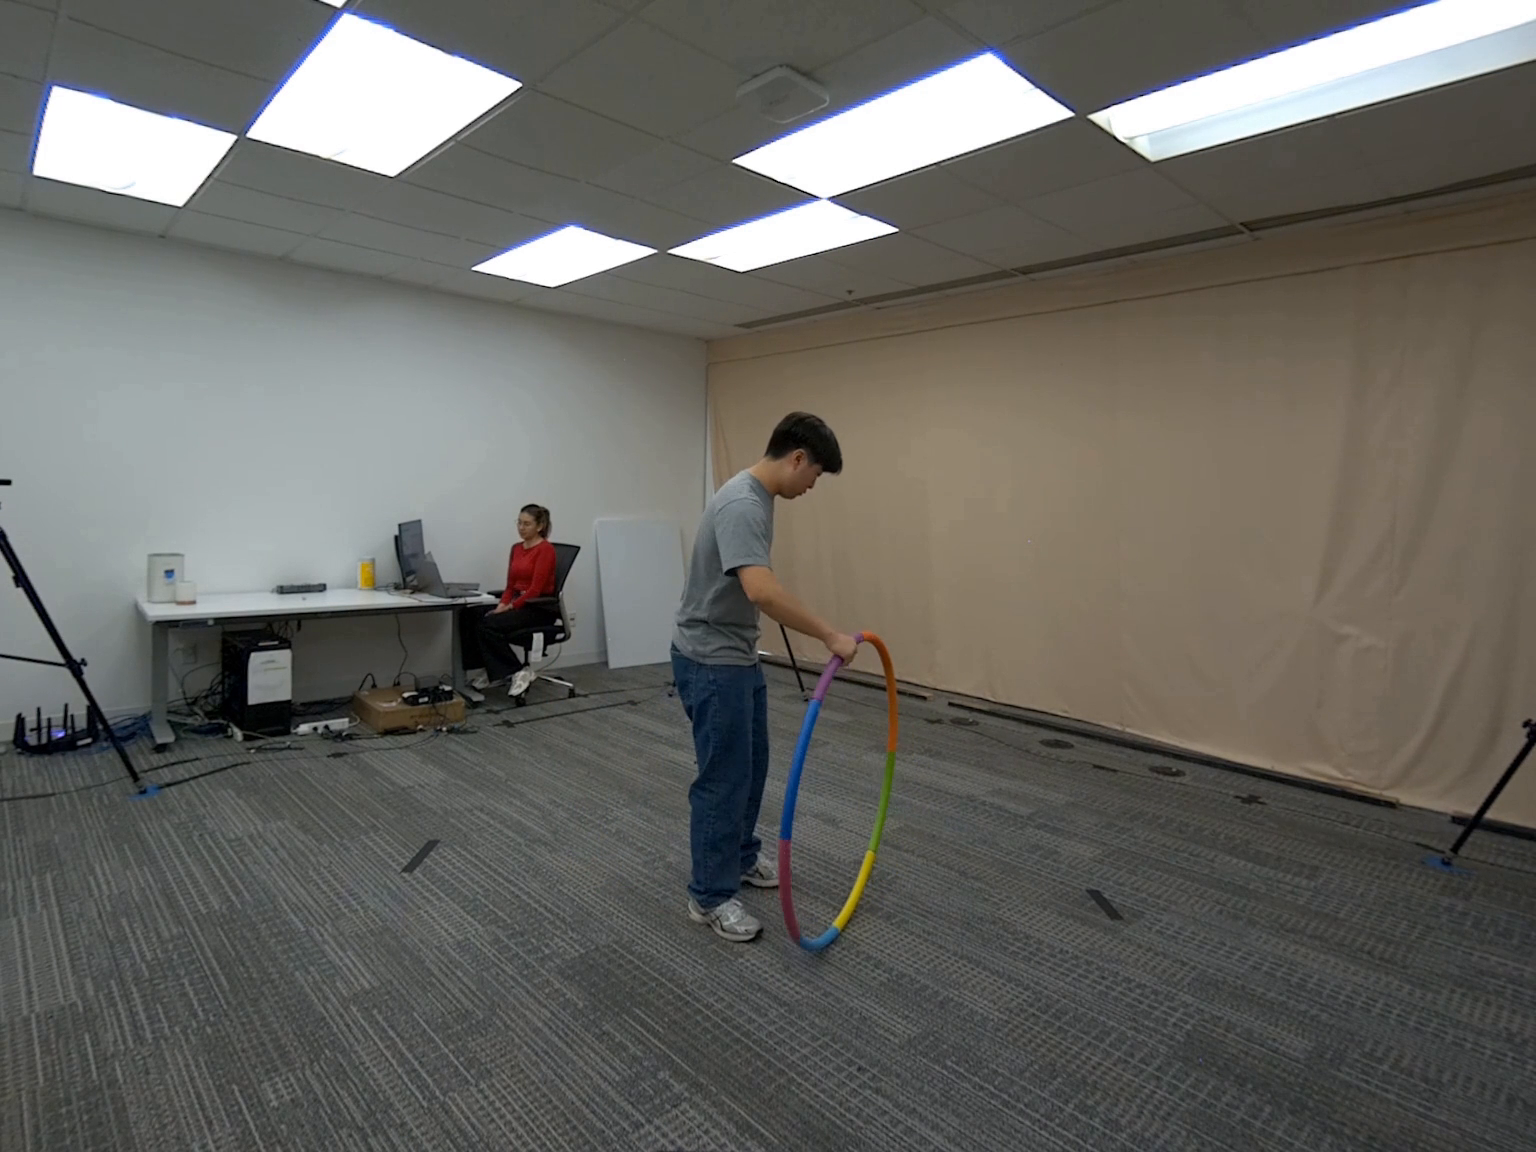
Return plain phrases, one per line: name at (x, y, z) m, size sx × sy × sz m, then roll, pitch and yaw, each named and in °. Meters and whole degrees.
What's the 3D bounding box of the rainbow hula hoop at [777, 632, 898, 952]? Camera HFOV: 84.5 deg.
rainbow hula hoop at (0.240, 0.662, 2.694) m, size 0.036 × 0.975 × 0.962 m, roll 5°, pitch 5°, yaw 25°
